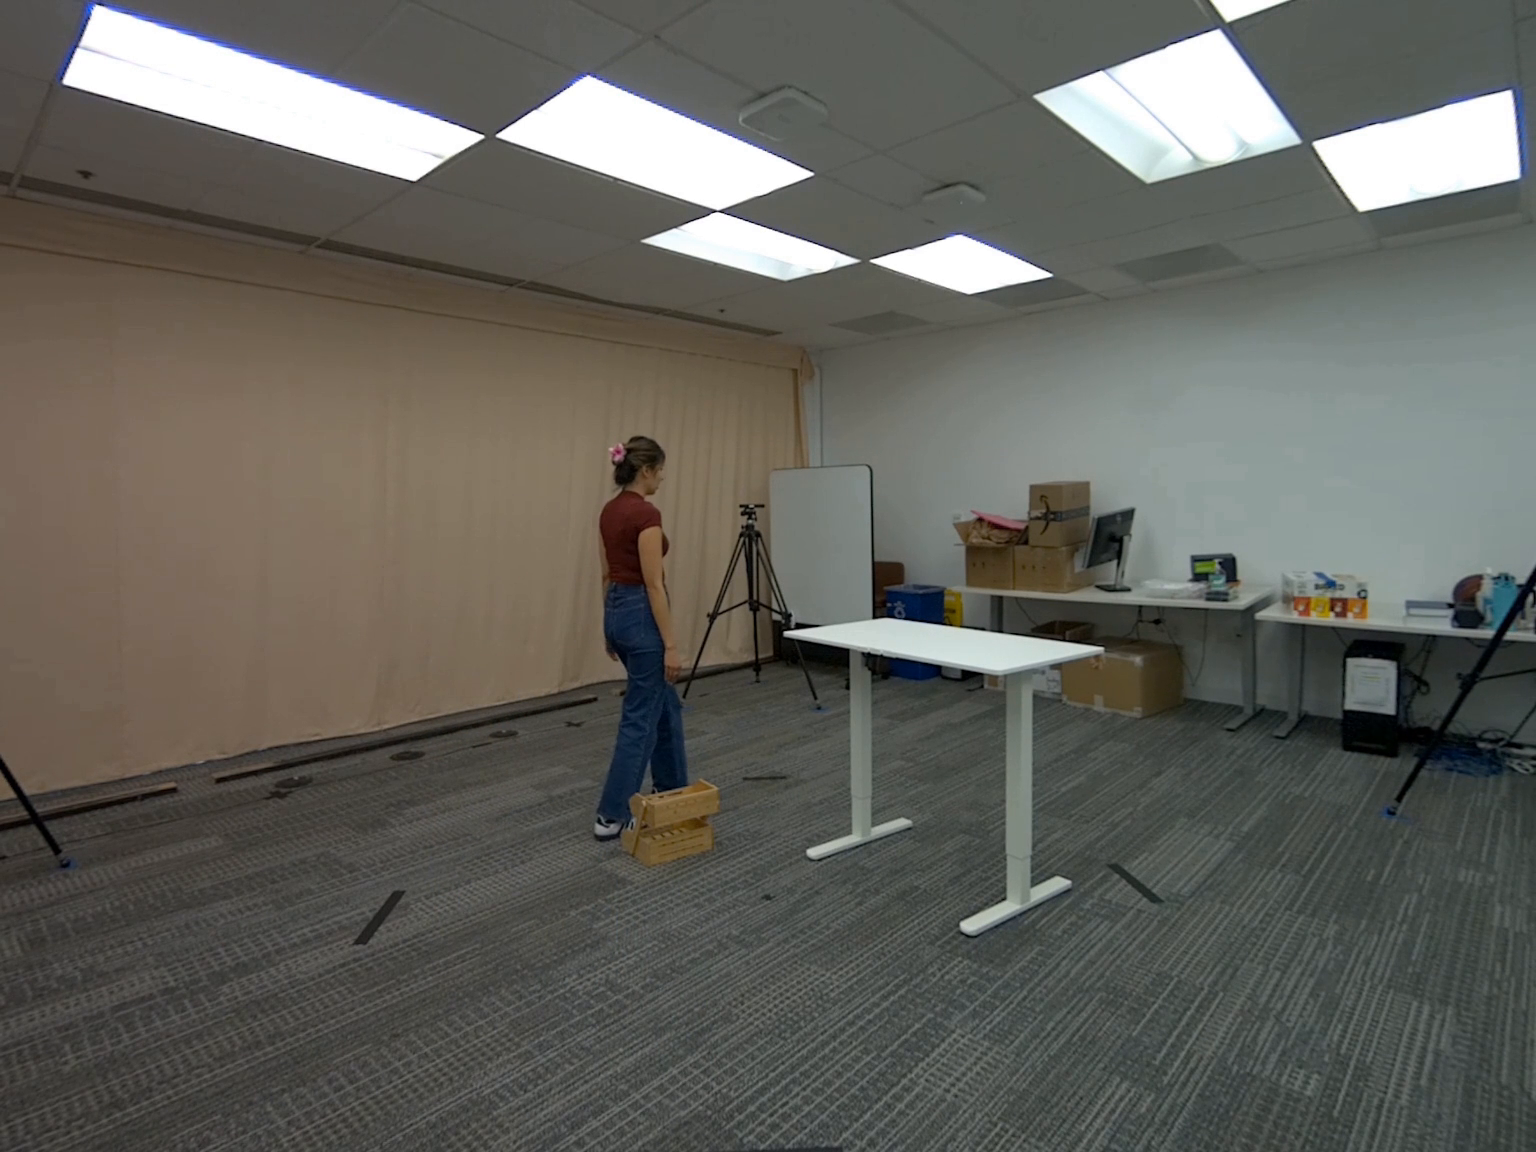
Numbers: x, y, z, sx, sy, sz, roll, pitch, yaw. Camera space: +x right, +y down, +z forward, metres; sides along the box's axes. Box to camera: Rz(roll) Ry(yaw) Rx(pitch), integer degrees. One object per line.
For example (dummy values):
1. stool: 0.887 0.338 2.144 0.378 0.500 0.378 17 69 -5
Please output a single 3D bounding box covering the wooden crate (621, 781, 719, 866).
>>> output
1. wooden crate: -0.403 0.977 3.417 0.315 0.273 0.311 -4 5 -33
